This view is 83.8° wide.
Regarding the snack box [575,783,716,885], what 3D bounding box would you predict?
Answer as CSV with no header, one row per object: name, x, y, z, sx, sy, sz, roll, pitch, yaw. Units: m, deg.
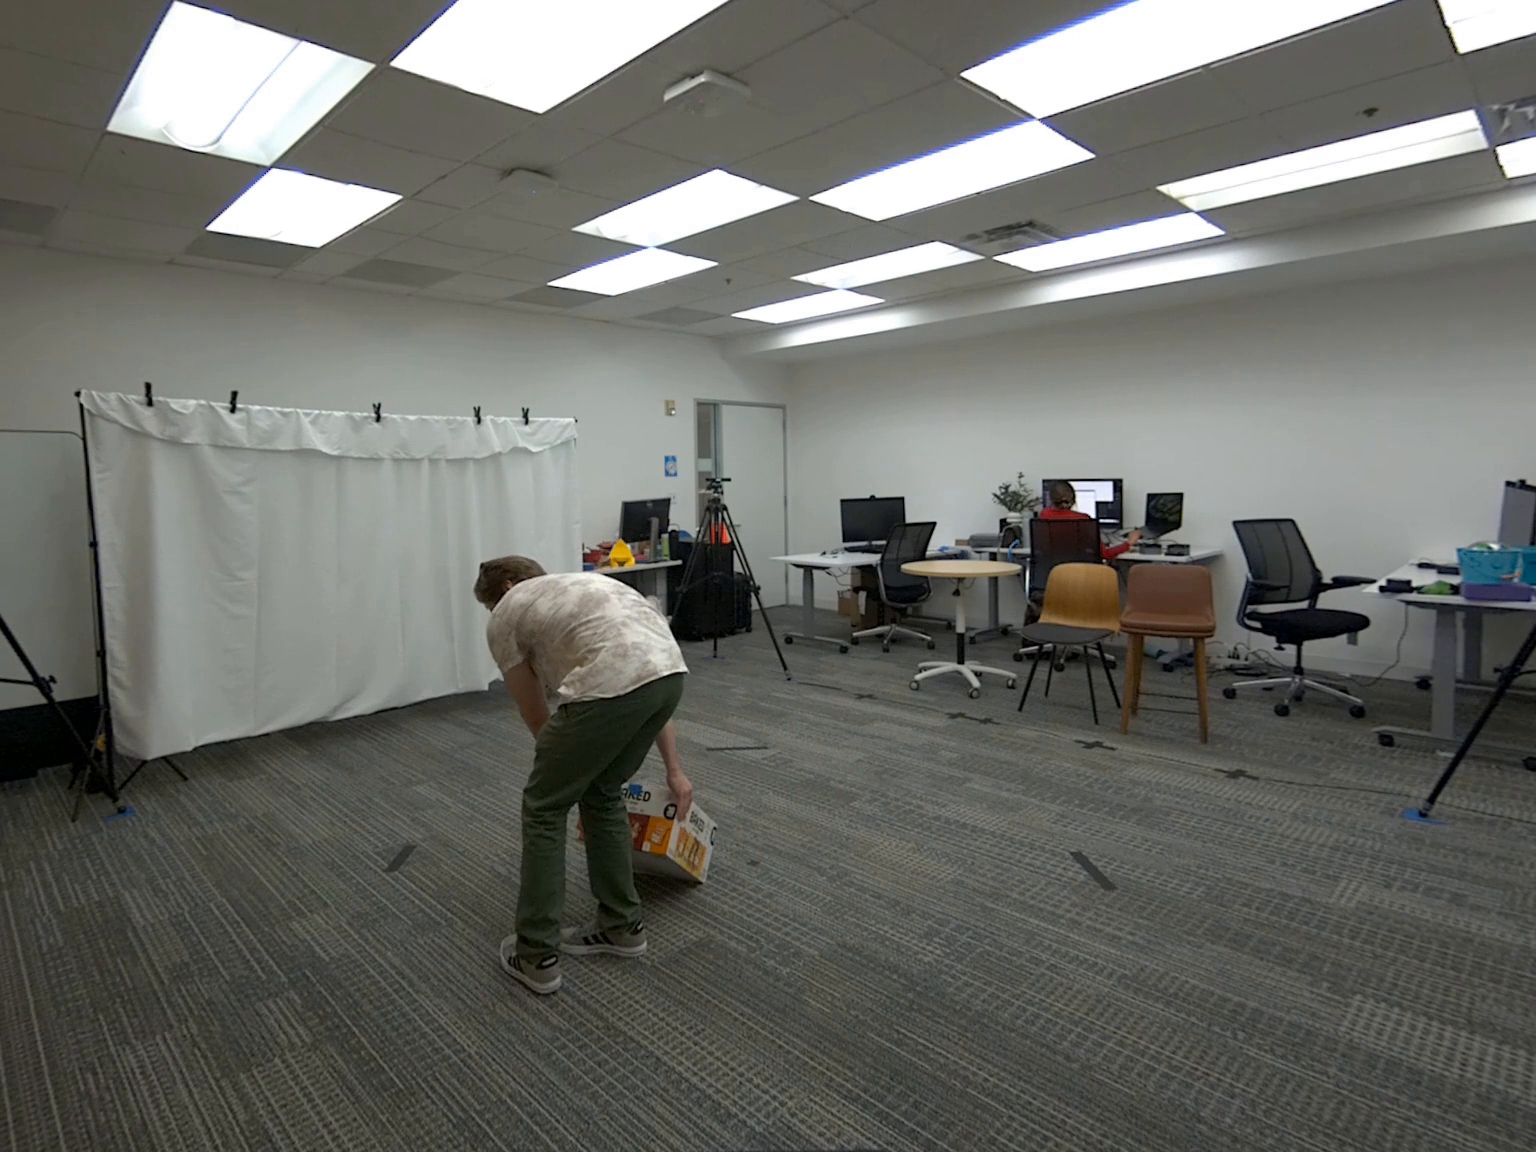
snack box,-0.404,0.872,2.908,0.347,0.209,0.391,3,-30,19
